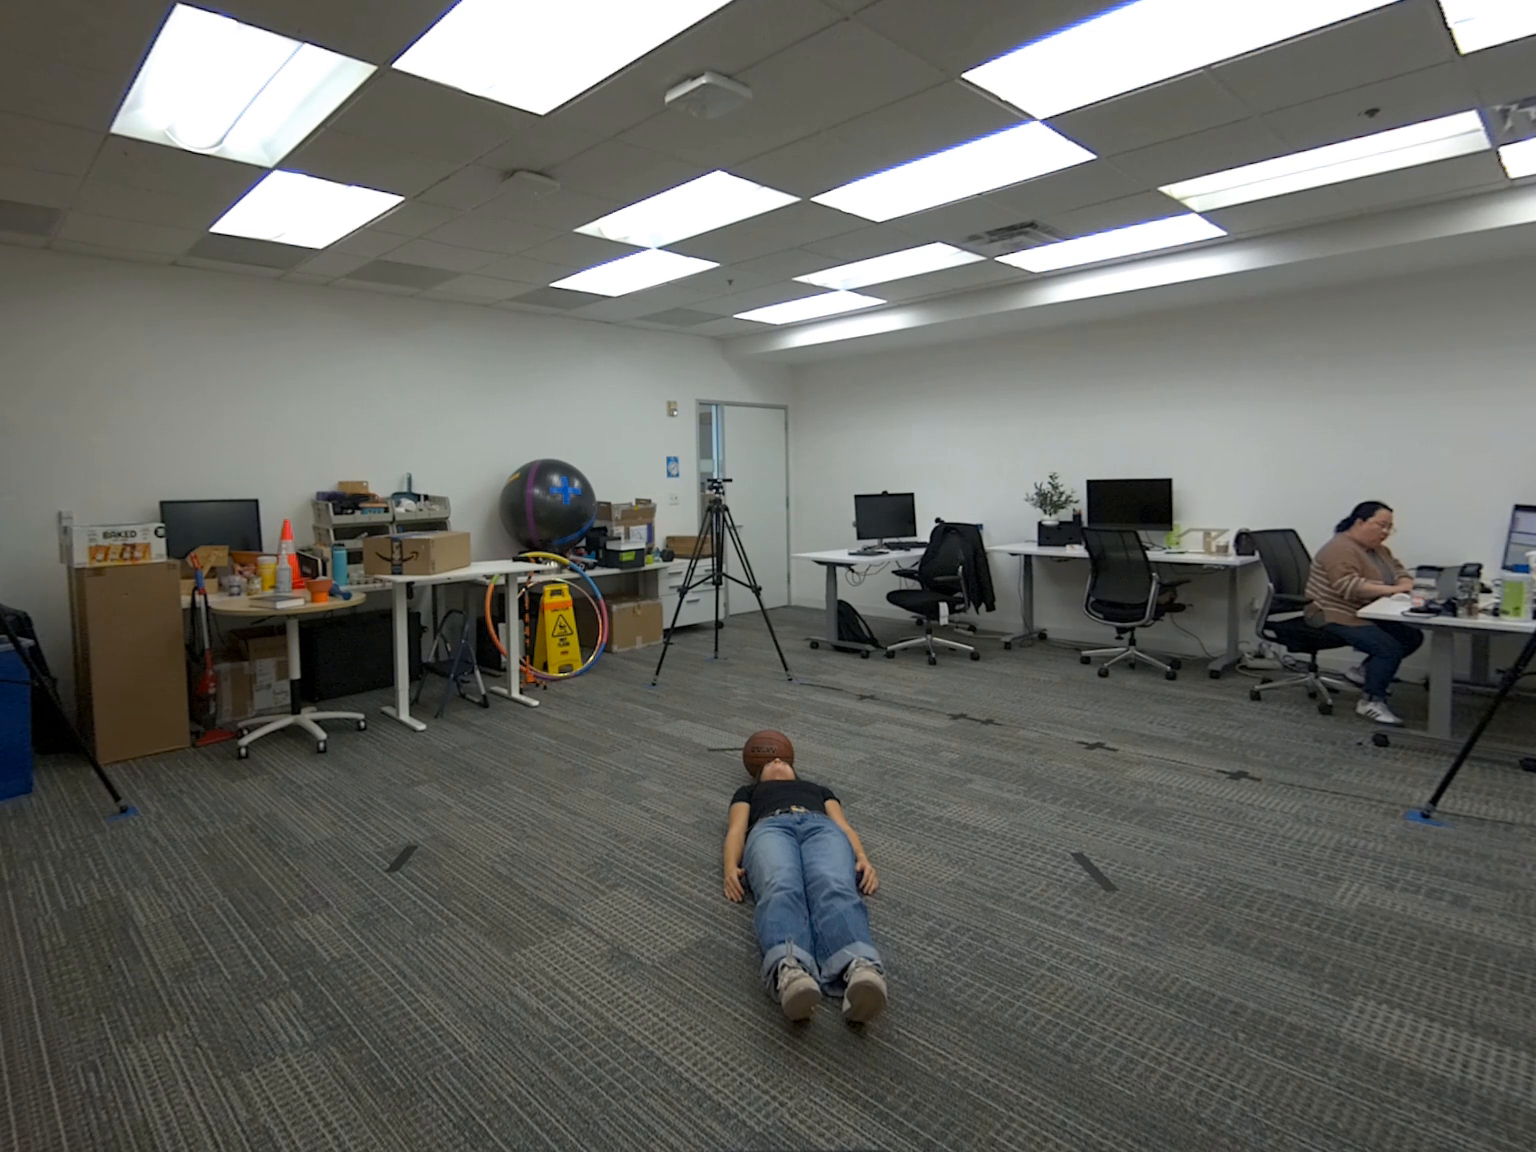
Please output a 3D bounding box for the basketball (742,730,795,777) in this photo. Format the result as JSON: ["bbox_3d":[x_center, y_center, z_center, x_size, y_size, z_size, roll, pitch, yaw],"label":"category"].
[{"bbox_3d":[0.002,0.832,3.954,0.236,0.235,0.237,-1,5,-2],"label":"basketball"}]
